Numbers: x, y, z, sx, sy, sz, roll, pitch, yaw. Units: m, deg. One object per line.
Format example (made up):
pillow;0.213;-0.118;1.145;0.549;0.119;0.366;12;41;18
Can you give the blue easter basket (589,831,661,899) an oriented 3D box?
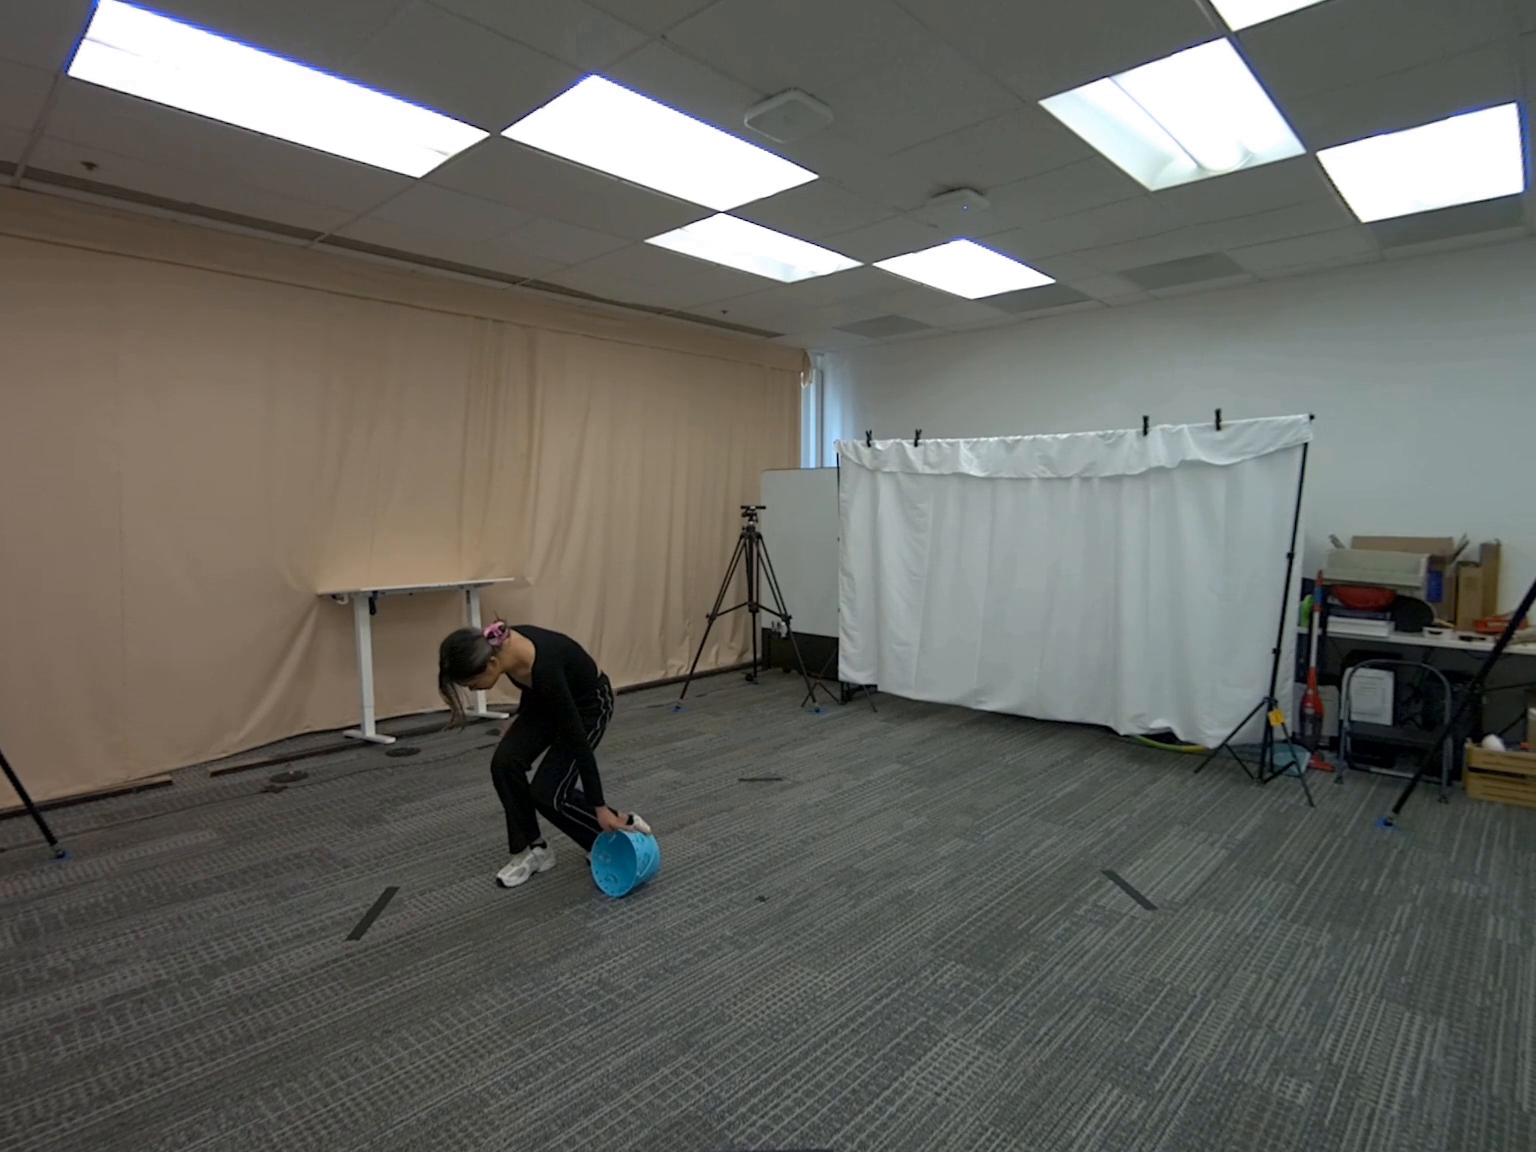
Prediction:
blue easter basket;-0.511;1.037;3.081;0.251;0.244;0.151;3;-2;36
